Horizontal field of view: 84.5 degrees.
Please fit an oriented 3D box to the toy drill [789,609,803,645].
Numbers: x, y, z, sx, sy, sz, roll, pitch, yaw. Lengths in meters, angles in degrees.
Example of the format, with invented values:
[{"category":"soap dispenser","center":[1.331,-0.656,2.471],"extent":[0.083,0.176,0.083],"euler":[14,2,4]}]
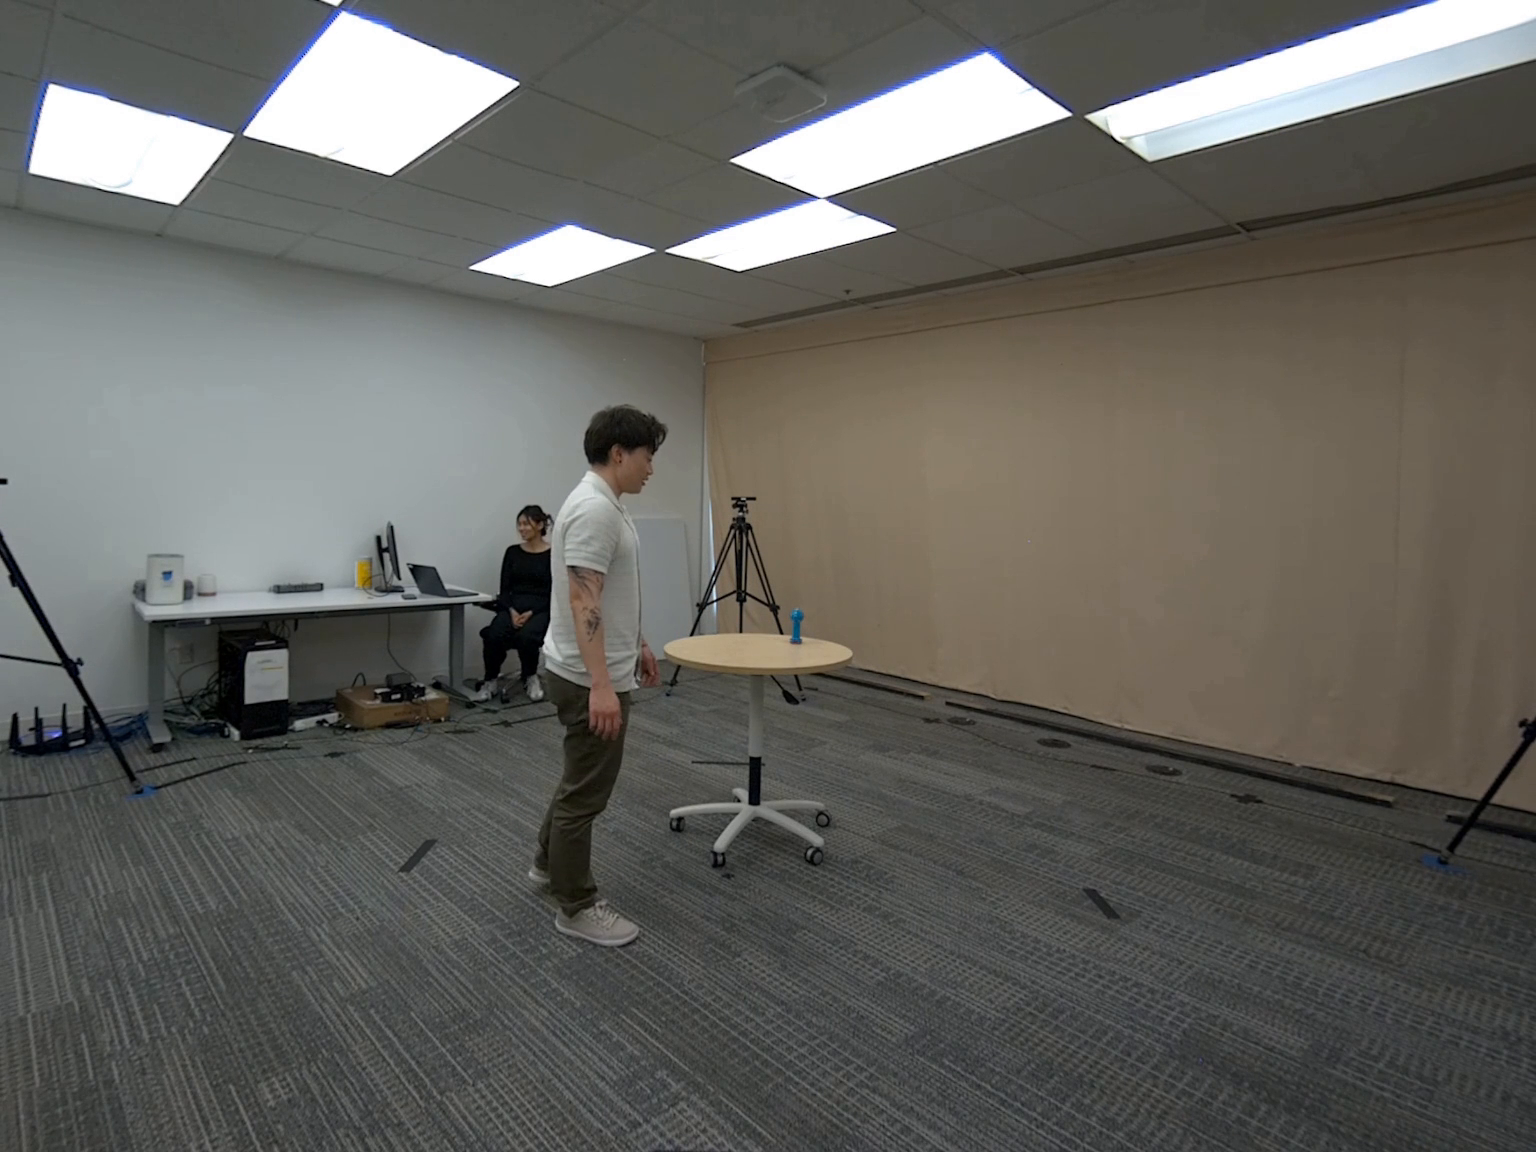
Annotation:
[{"category":"toy drill","center":[0.112,0.208,3.626],"extent":[0.061,0.146,0.170],"euler":[1,4,2]}]
